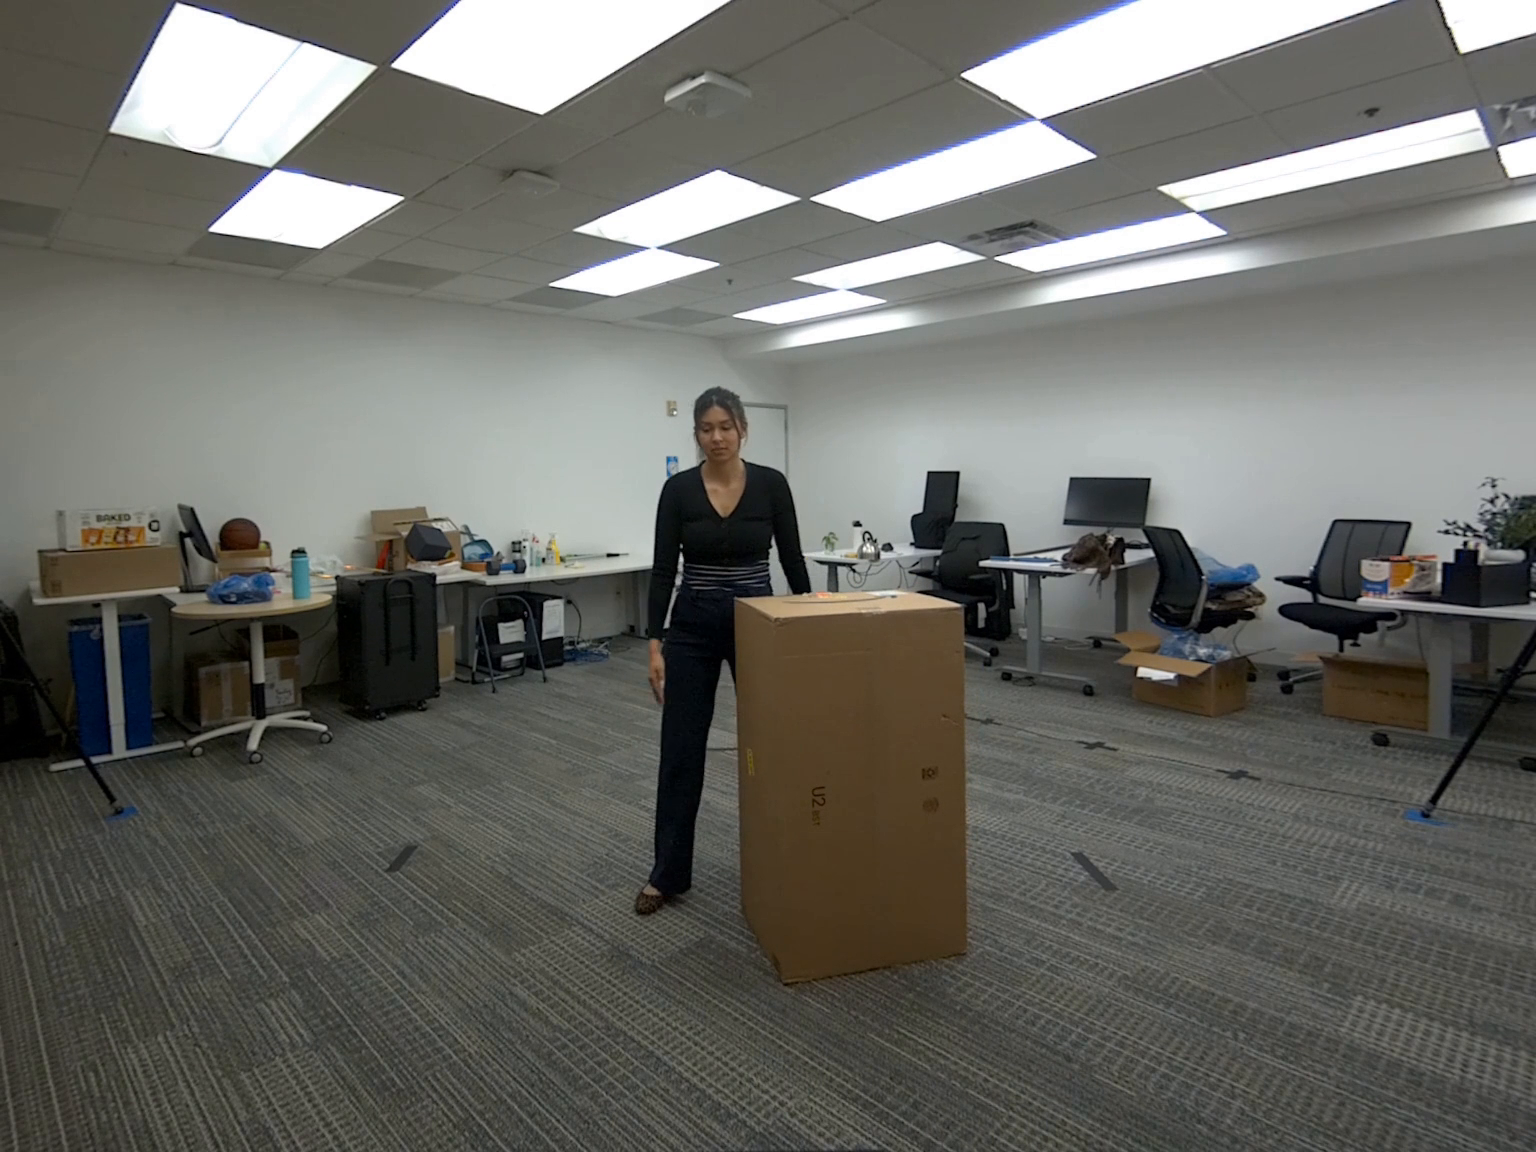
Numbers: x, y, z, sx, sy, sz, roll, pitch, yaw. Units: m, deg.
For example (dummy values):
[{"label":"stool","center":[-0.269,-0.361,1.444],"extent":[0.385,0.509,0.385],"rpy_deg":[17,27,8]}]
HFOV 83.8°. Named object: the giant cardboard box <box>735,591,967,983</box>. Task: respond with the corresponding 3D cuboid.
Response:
[{"label":"giant cardboard box","center":[0.242,0.587,2.592],"extent":[0.569,1.022,0.434],"rpy_deg":[-3,4,-16]}]
